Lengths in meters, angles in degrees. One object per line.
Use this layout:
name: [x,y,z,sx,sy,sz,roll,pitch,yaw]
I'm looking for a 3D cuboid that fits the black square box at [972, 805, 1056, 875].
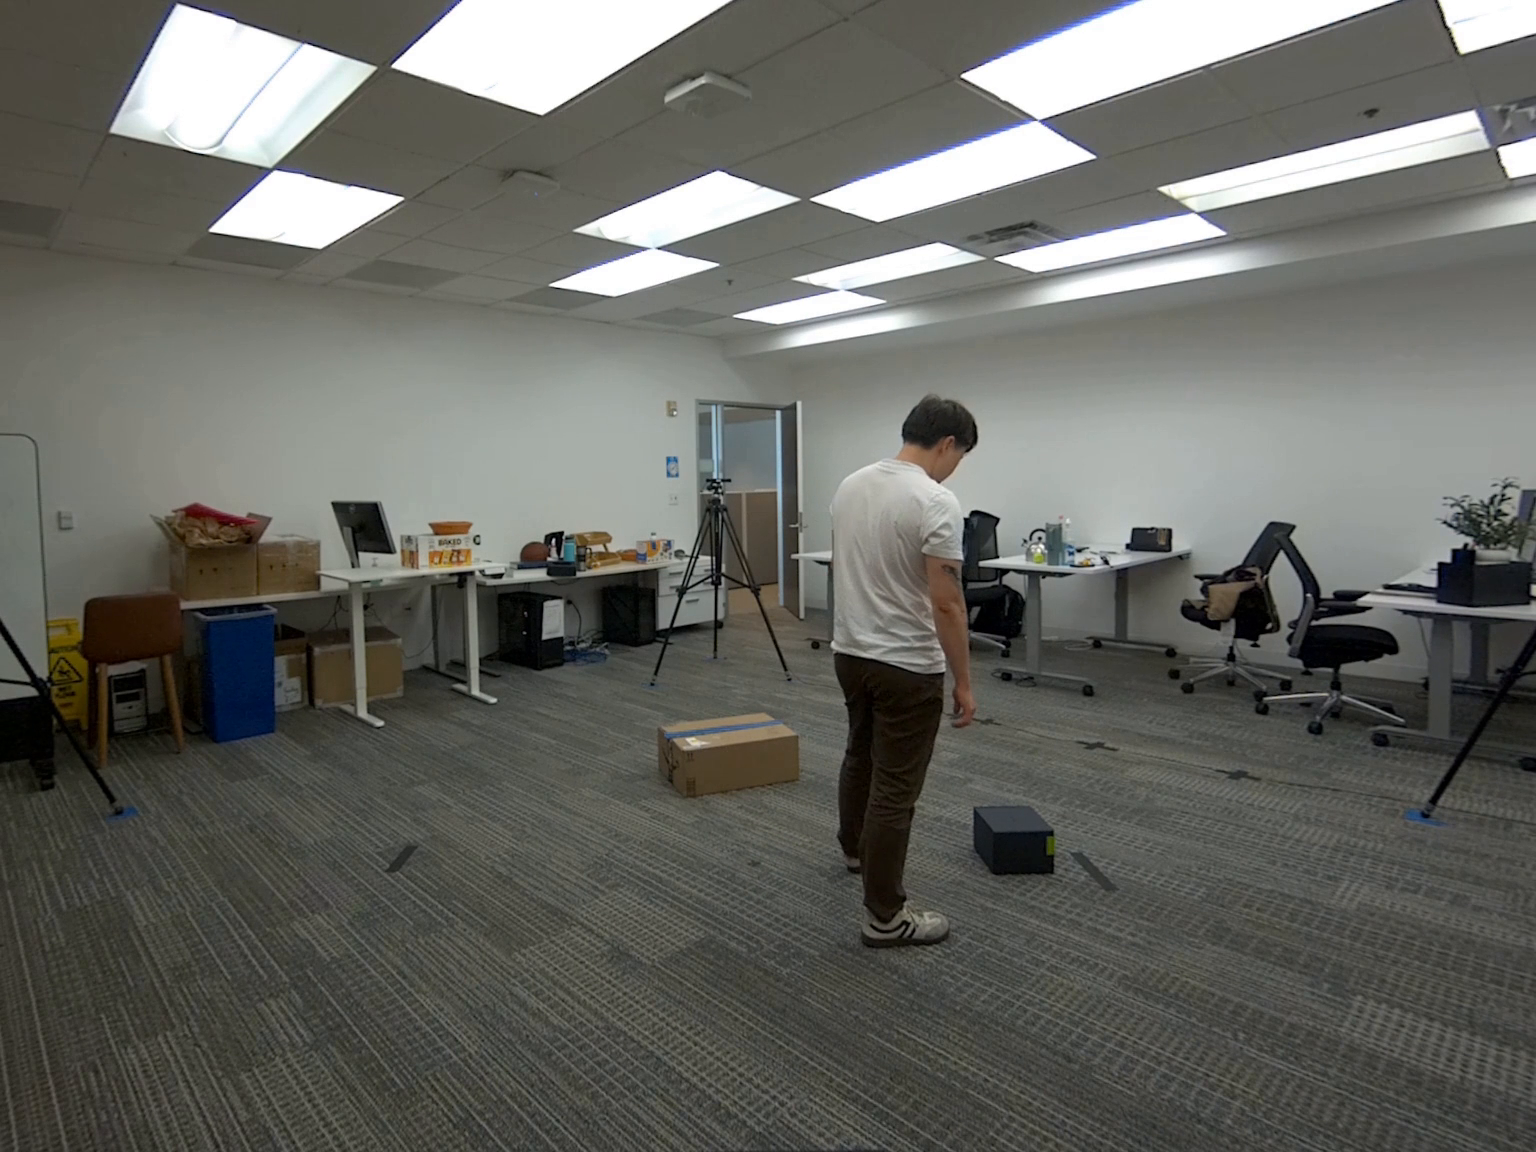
black square box: [0.892,0.947,3.087,0.217,0.155,0.229,-1,5,-2]
